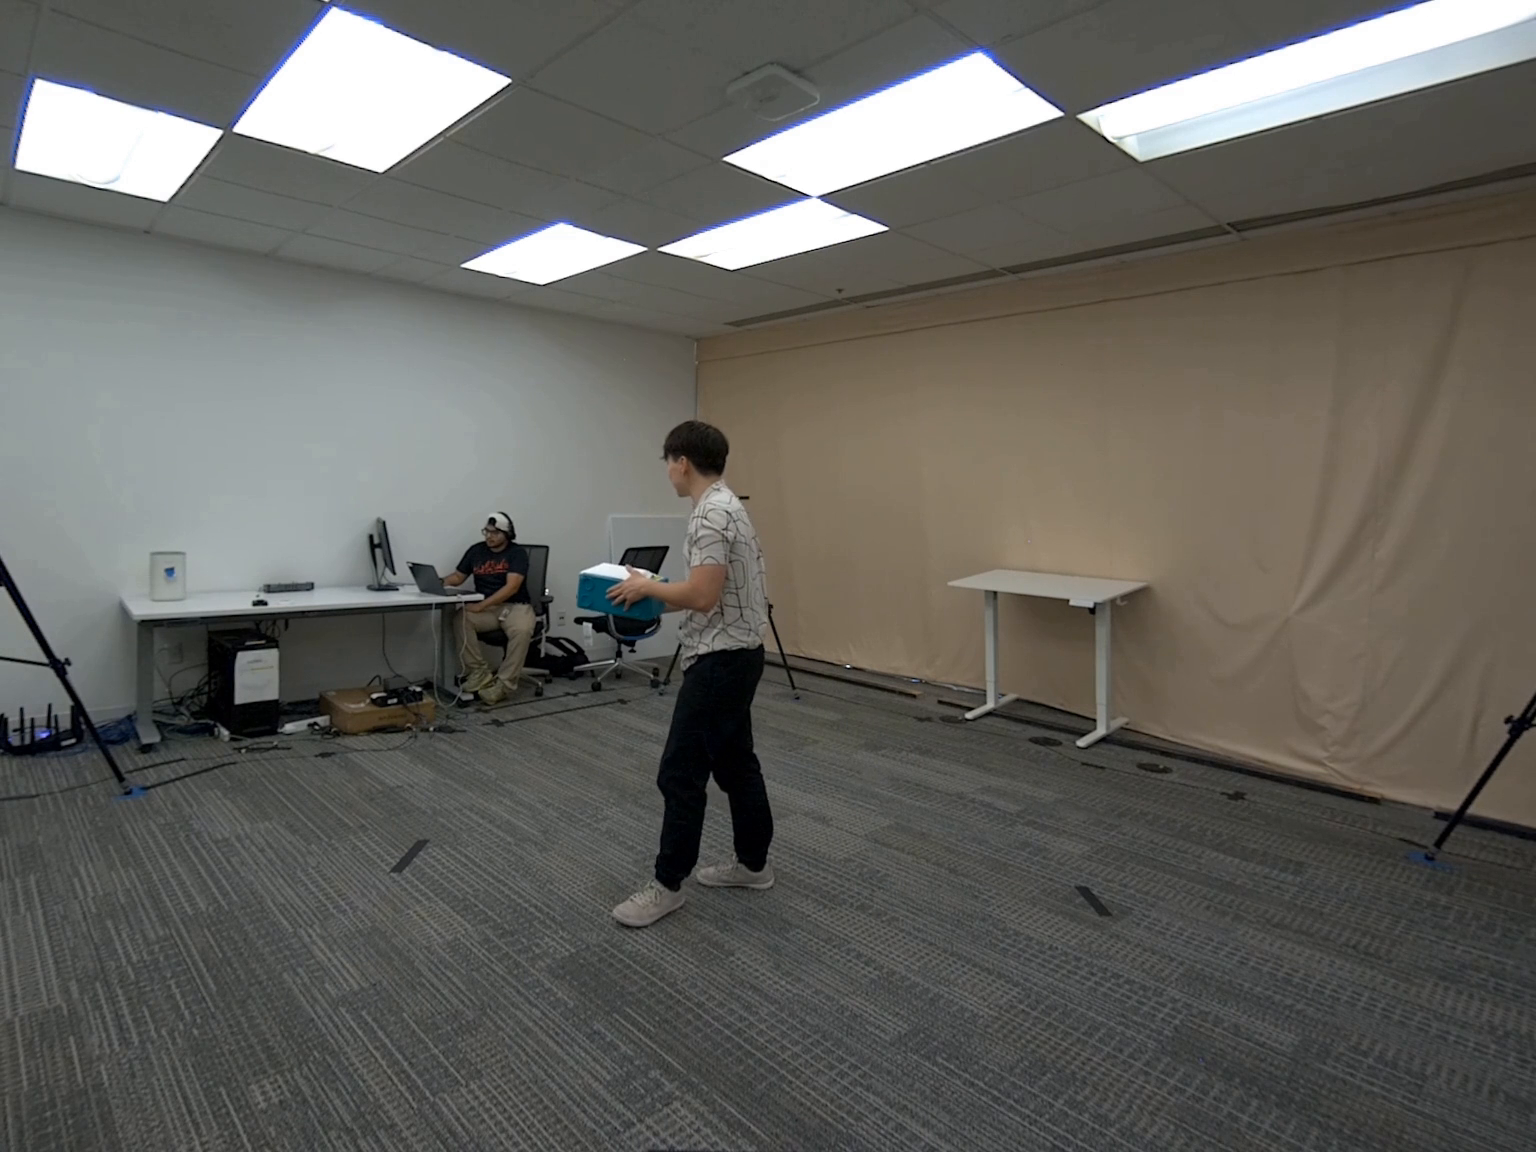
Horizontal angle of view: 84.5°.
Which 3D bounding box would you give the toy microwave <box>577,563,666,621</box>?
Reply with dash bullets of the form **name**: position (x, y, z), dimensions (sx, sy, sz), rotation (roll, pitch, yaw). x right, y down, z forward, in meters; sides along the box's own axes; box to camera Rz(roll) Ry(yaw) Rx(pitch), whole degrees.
- **toy microwave**: position (-0.510, 0.046, 2.951), dimensions (0.290, 0.151, 0.183), rotation (7, 8, 14)
